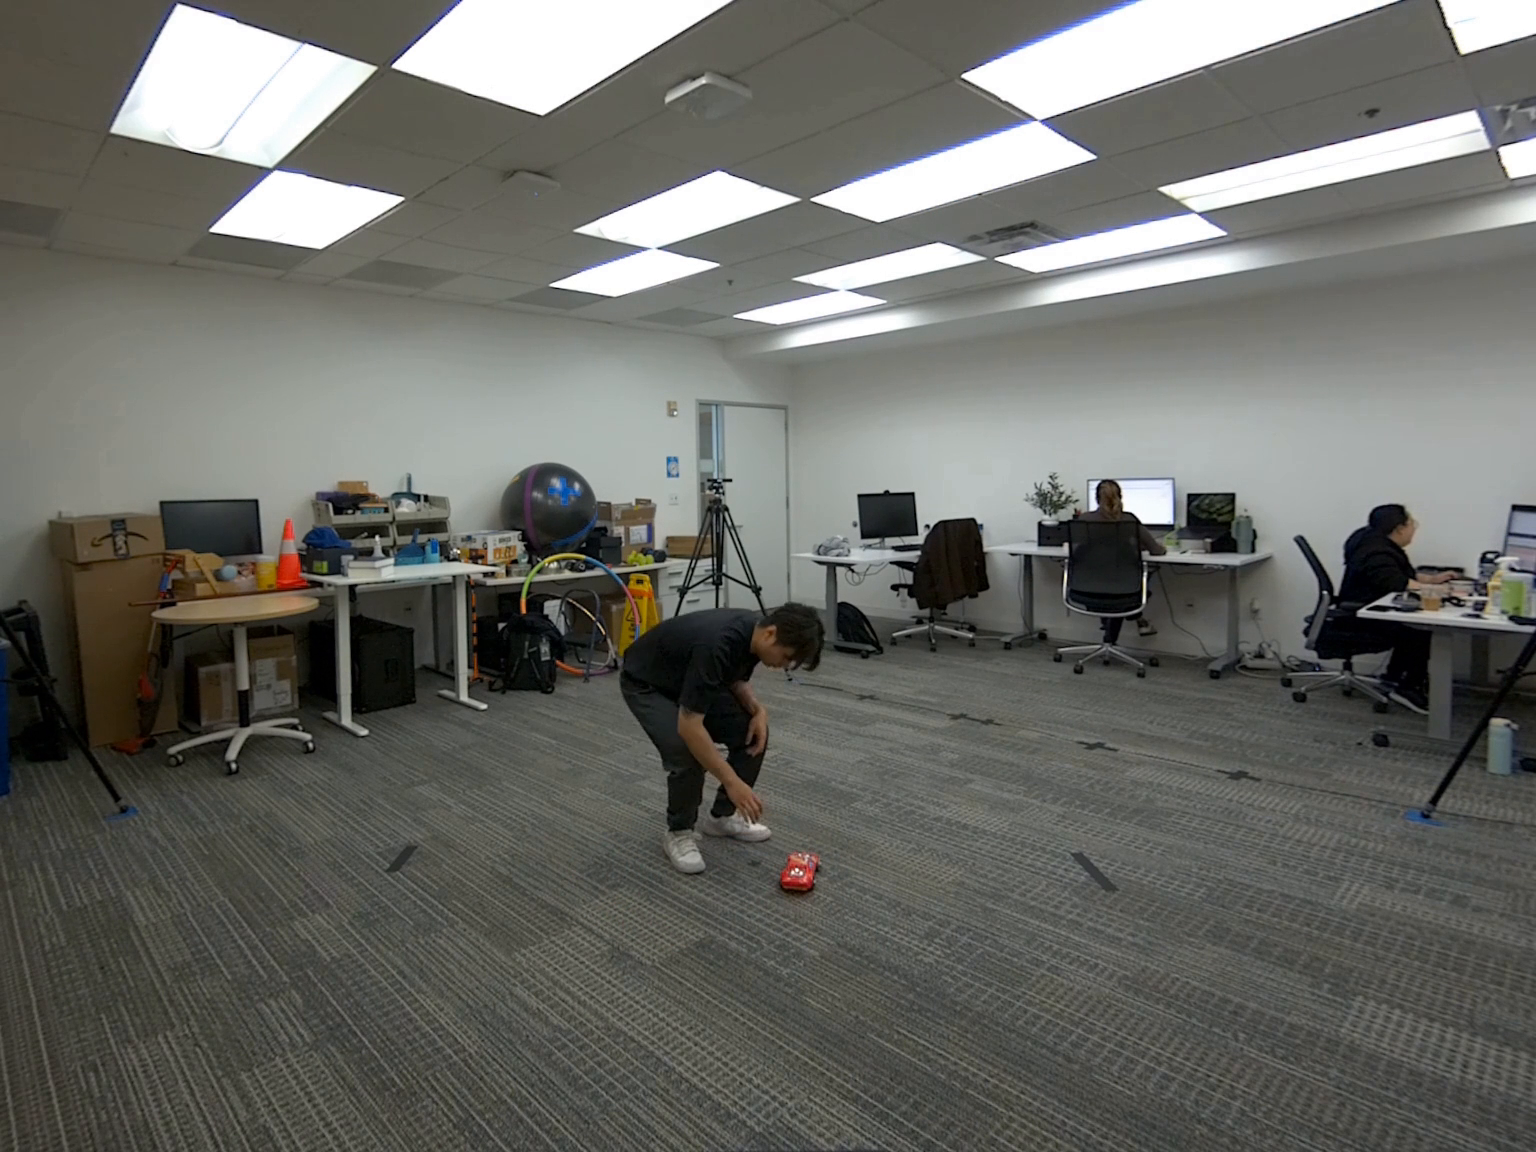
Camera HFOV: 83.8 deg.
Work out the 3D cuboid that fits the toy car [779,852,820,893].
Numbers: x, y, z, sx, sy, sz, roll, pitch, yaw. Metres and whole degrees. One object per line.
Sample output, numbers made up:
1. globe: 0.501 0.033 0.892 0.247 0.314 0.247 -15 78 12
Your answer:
1. toy car: 0.110 1.026 2.962 0.132 0.083 0.250 1 -4 12
